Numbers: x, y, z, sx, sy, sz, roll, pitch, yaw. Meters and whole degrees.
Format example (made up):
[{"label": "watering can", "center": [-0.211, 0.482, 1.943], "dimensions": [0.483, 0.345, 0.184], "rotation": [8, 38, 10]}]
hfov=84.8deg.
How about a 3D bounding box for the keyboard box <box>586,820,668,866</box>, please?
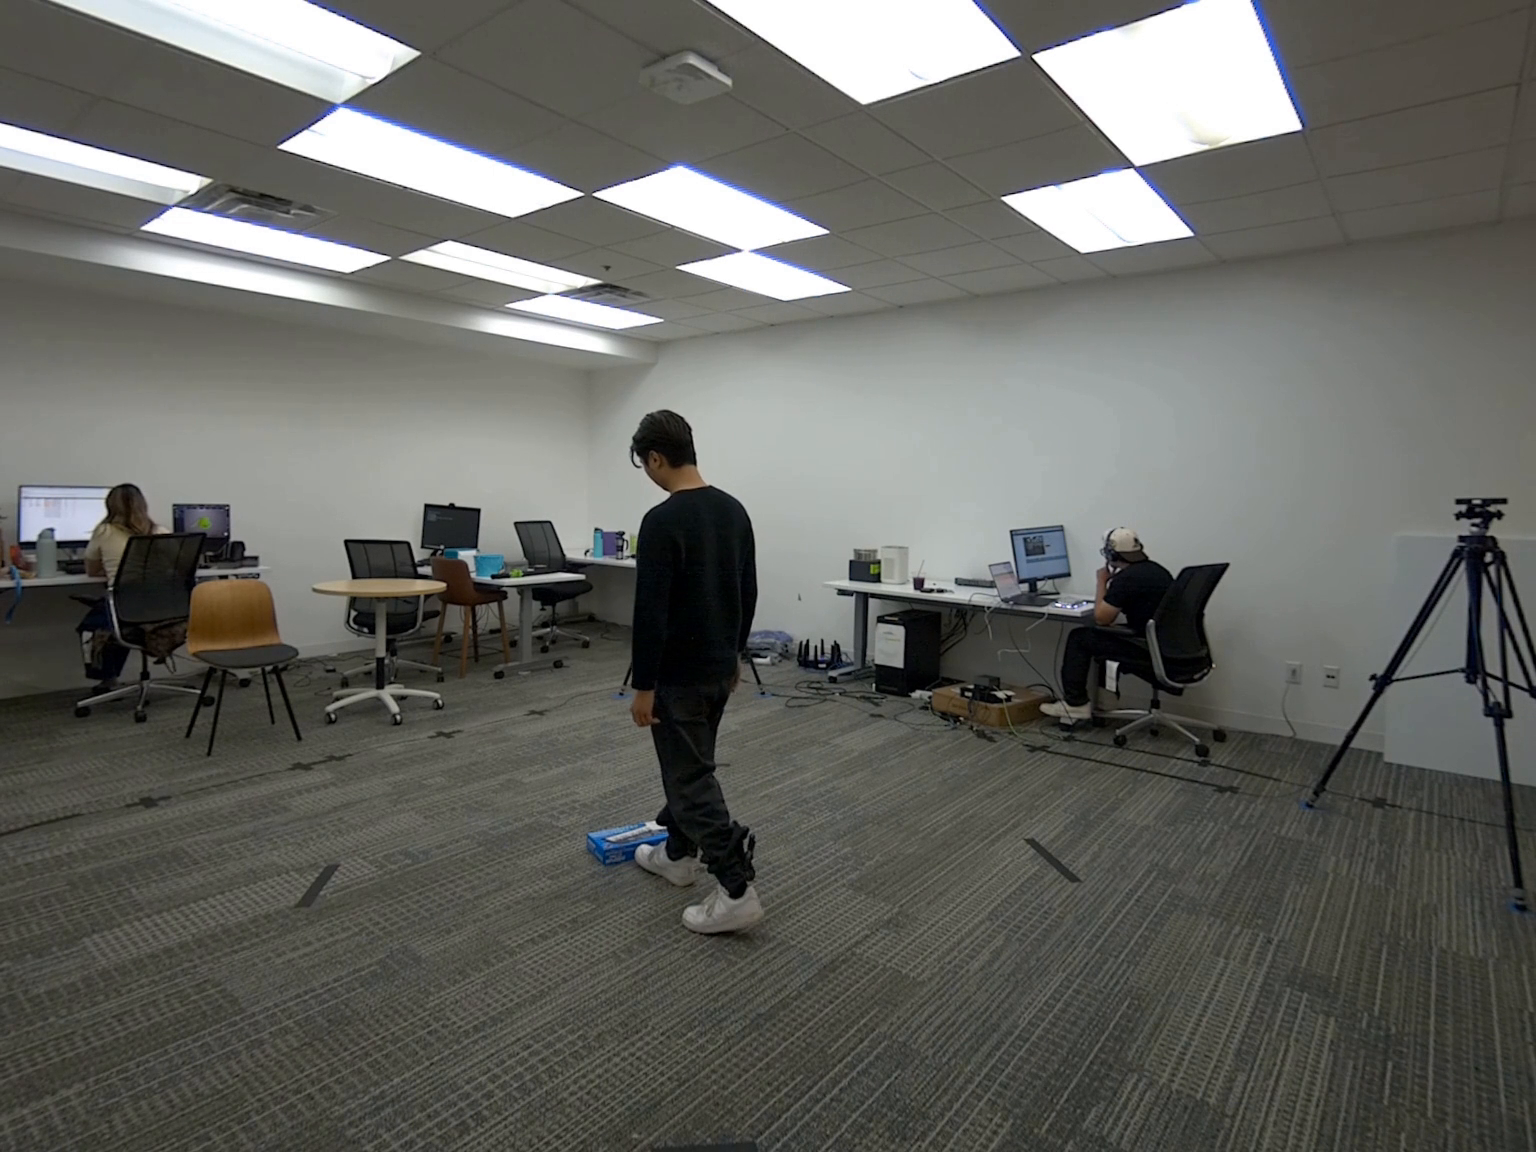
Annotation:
[{"label": "keyboard box", "center": [-0.481, 1.018, 3.307], "dimensions": [0.425, 0.059, 0.181], "rotation": [-2, 6, -32]}]
